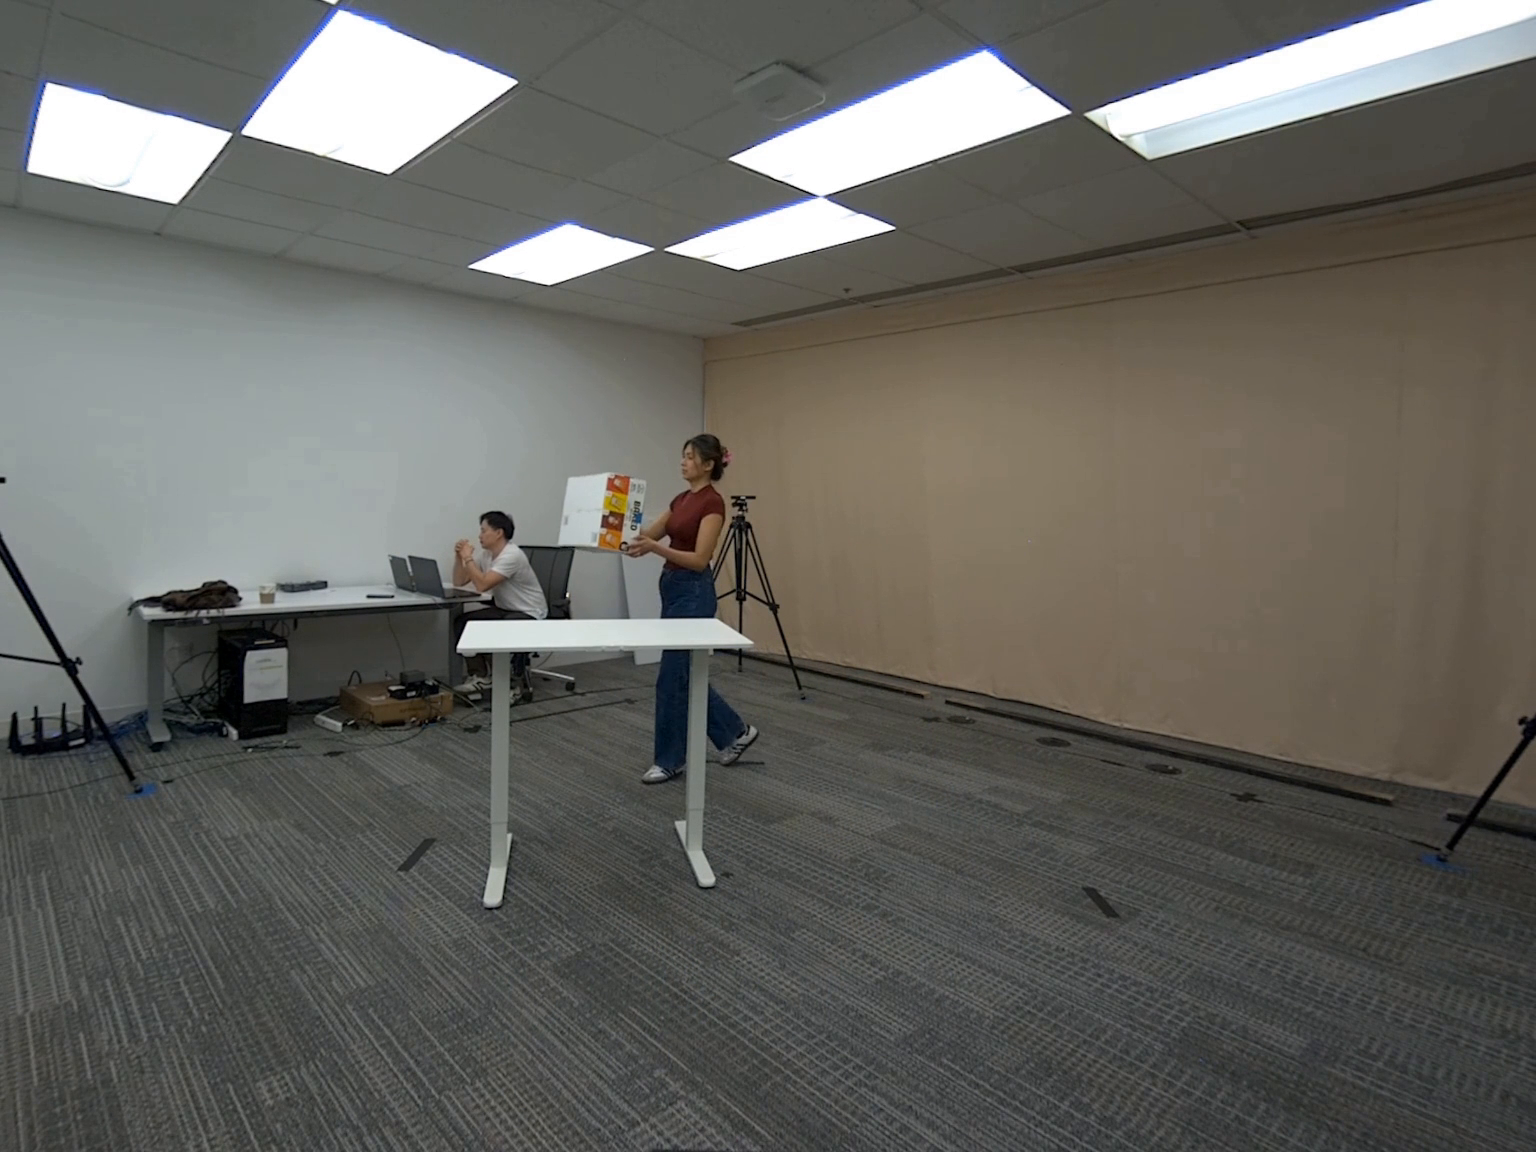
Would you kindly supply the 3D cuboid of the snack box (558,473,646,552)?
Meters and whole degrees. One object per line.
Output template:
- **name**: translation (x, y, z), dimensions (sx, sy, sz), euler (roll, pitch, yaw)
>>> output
- **snack box**: translation (-0.773, -0.284, 3.926), dimensions (0.200, 0.342, 0.414), euler (13, -8, -39)
